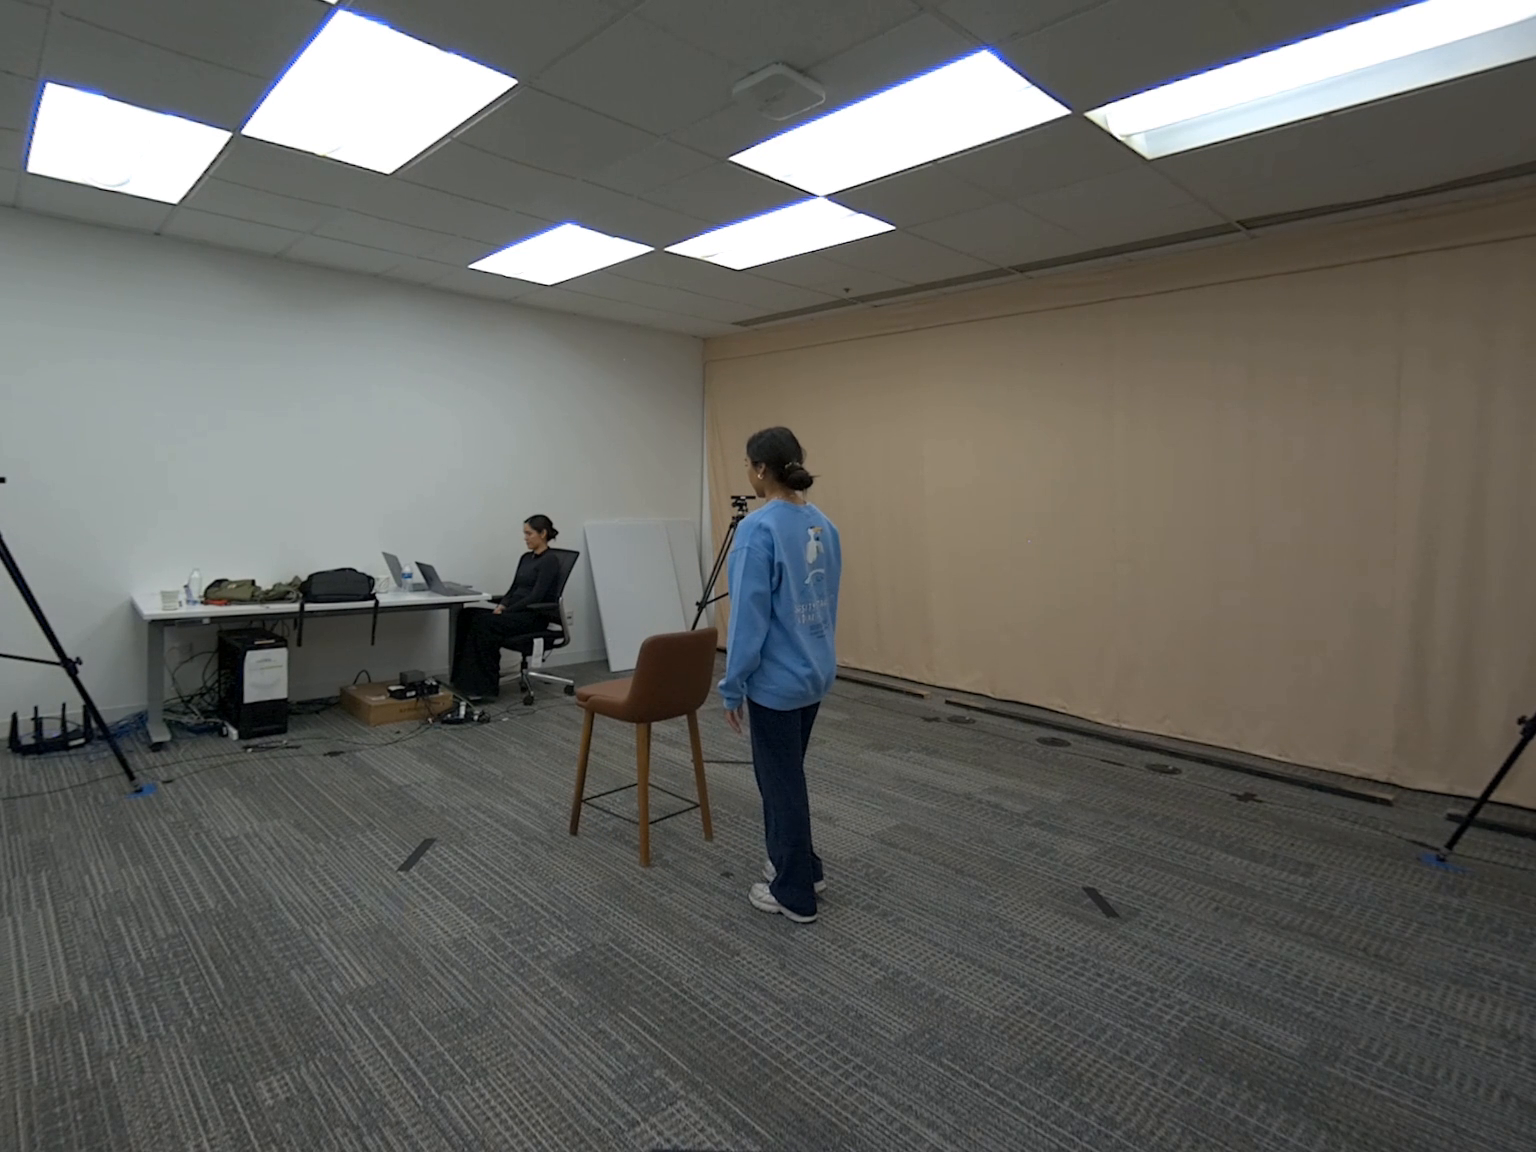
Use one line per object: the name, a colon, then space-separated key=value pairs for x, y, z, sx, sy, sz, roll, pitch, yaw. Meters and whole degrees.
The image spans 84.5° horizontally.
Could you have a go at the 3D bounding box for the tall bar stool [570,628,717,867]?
tall bar stool: x=-0.502 y=0.630 z=3.407 sx=0.480 sy=0.887 sz=0.446 roll=7 pitch=7 yaw=41
